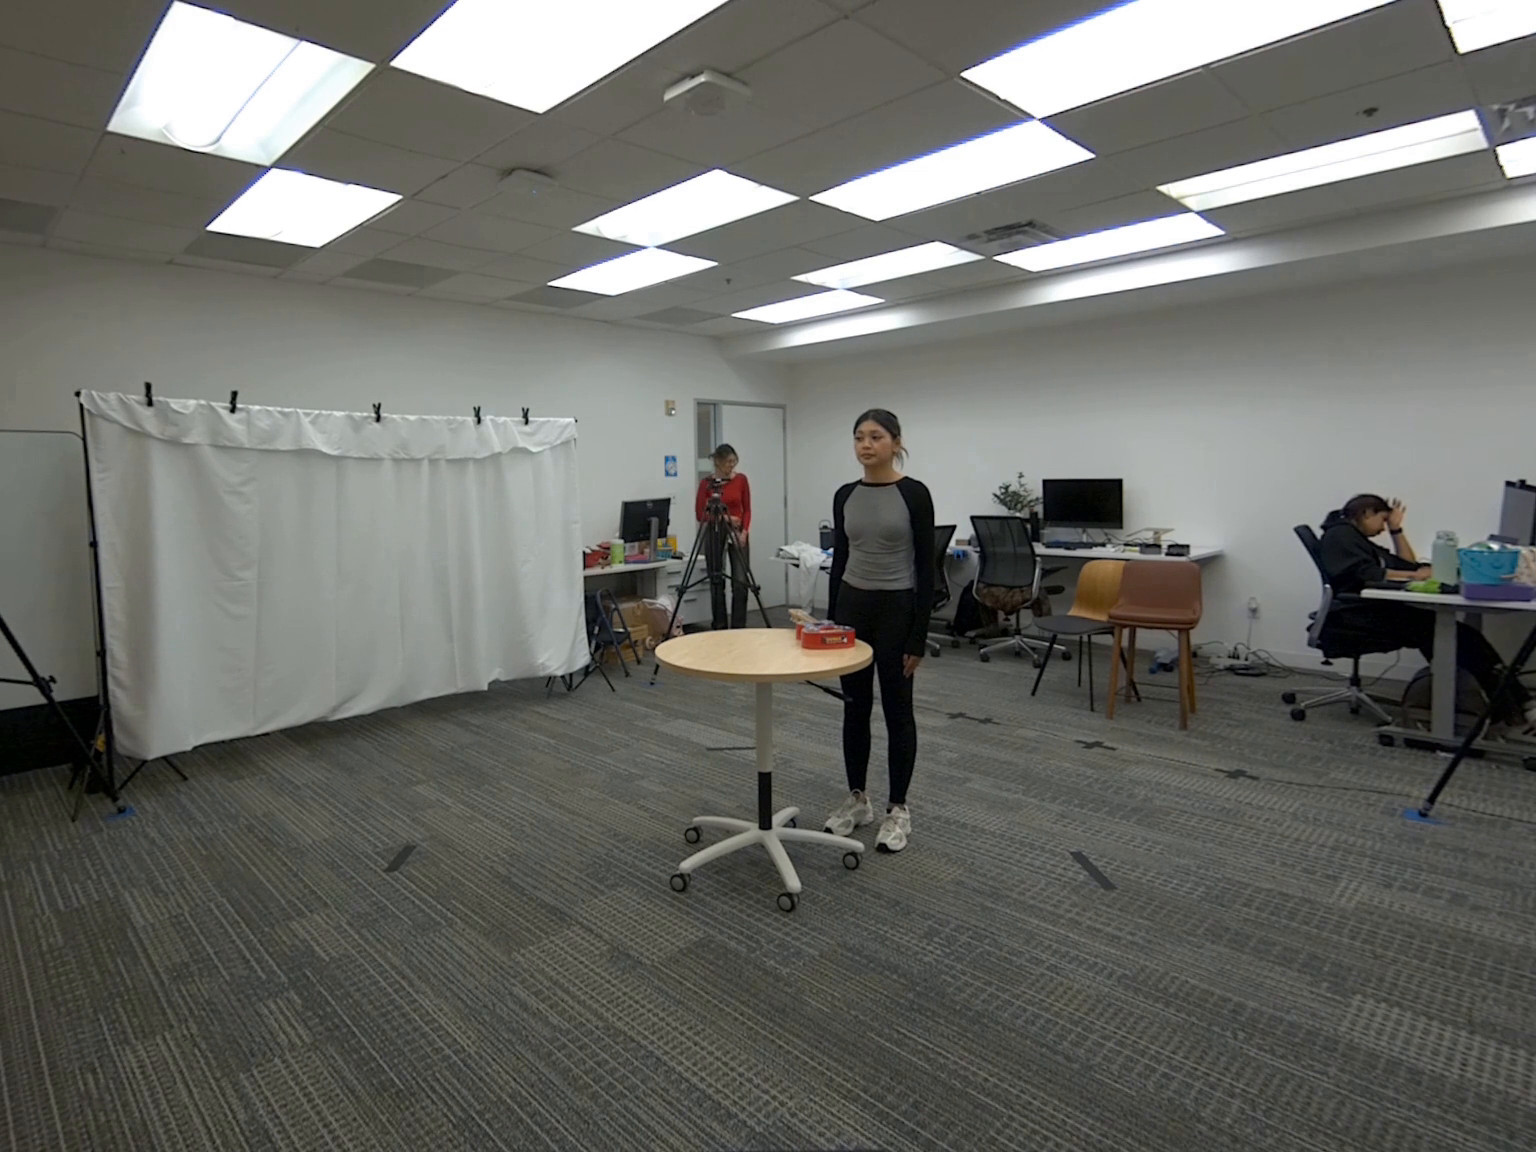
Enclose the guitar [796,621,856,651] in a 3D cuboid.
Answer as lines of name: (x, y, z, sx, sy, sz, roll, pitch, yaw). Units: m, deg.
guitar: (0.195, 0.194, 3.238, 0.192, 0.070, 0.503, -2, 7, -6)
